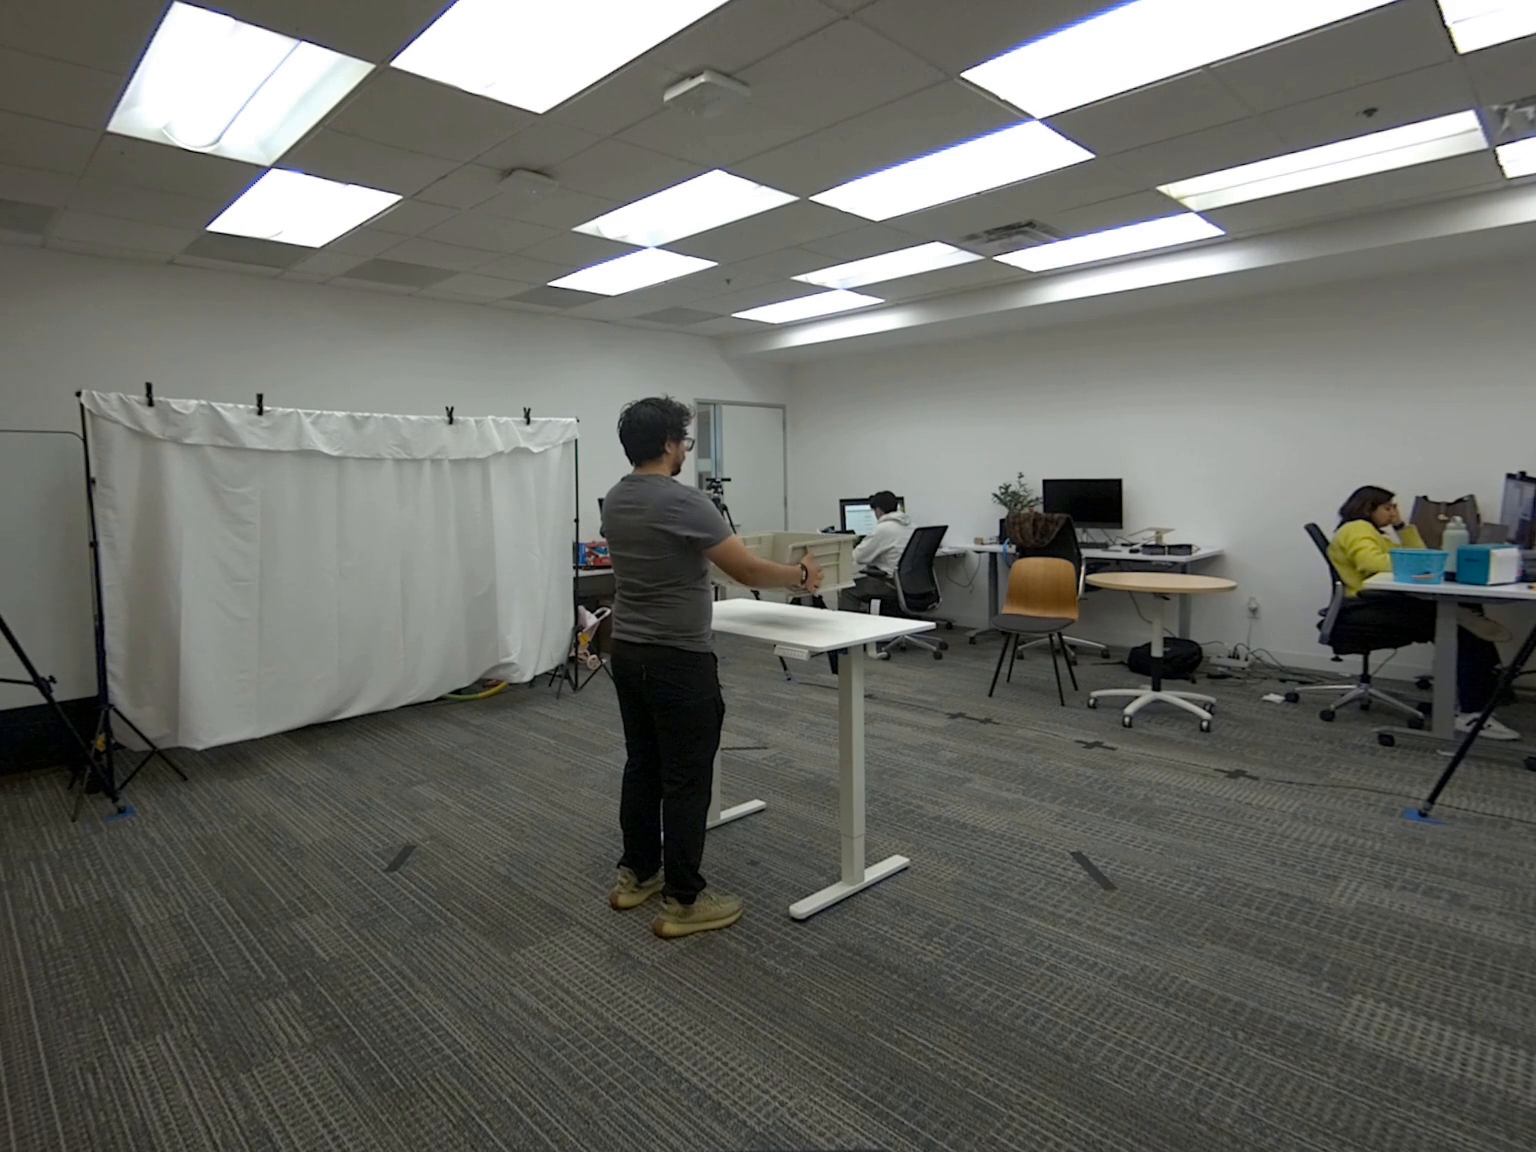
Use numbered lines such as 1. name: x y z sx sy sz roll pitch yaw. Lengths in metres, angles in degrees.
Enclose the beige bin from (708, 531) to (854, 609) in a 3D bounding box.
1. beige bin: 0.051 -0.050 3.065 0.368 0.188 0.435 -8 9 -42
